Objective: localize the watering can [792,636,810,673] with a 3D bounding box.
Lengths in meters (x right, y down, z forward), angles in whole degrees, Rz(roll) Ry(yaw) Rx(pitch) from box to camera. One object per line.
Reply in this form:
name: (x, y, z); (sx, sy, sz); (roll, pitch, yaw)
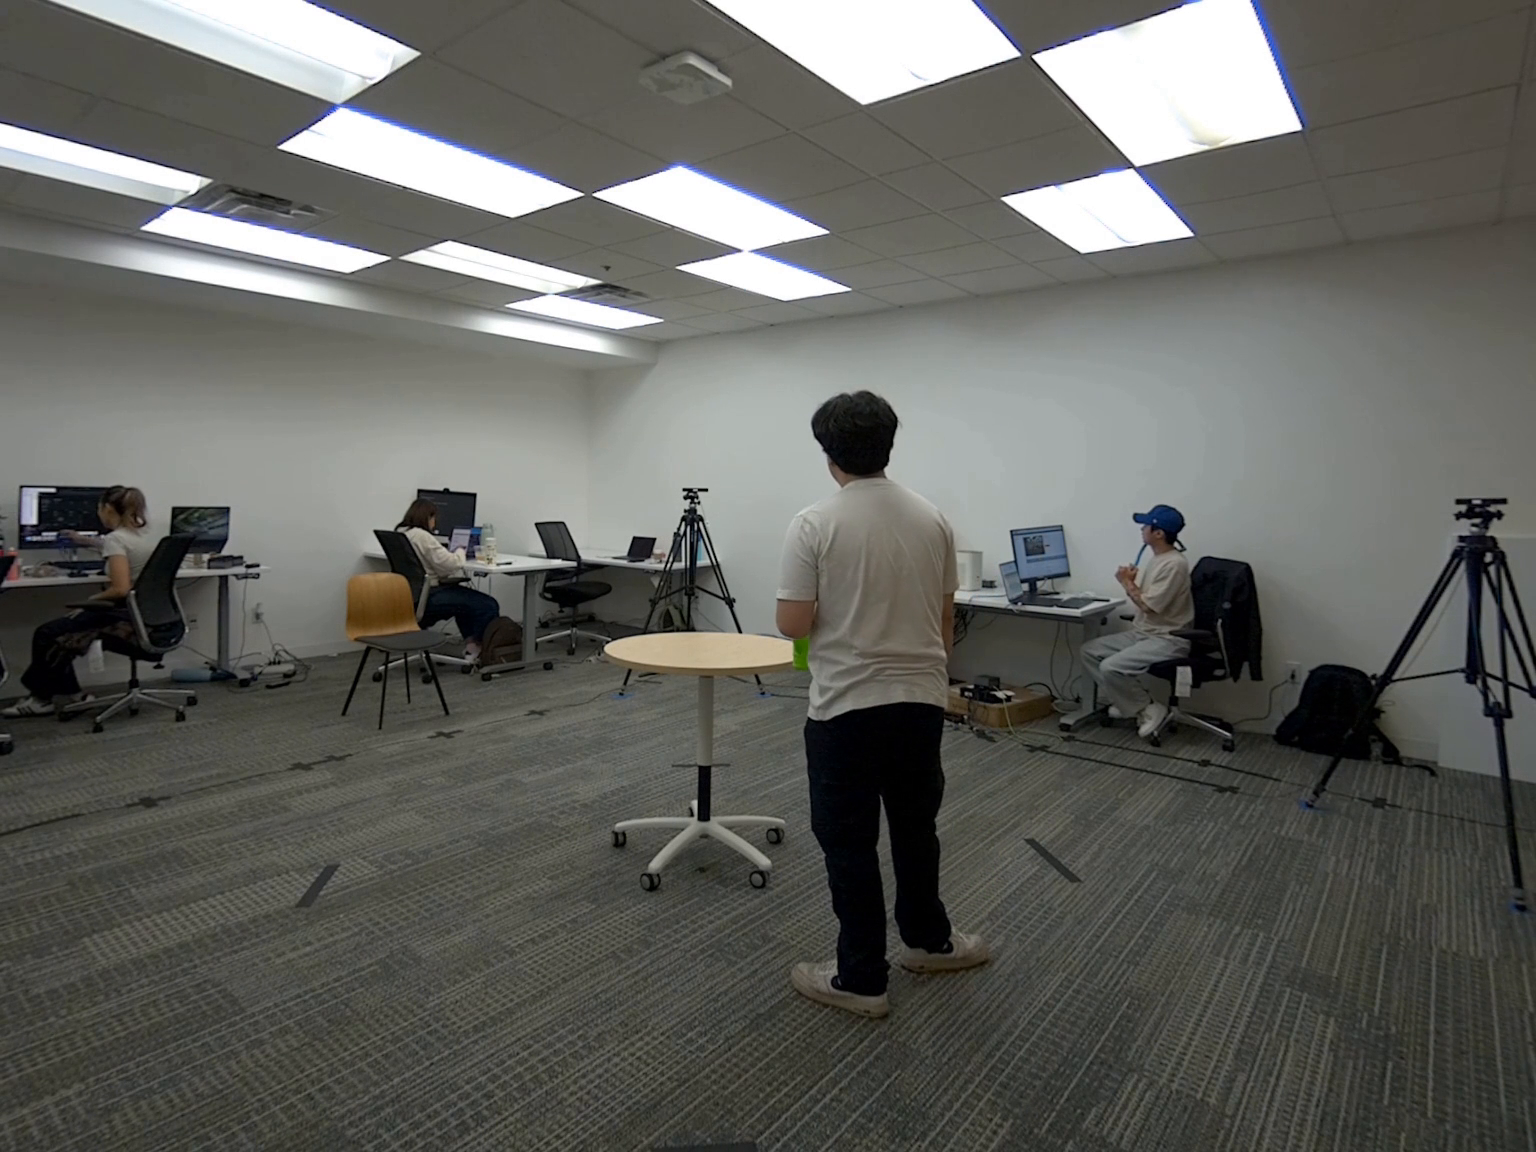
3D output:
watering can: (0.157, 0.186, 2.614); (0.270, 0.176, 0.101); (-8, 4, -42)
